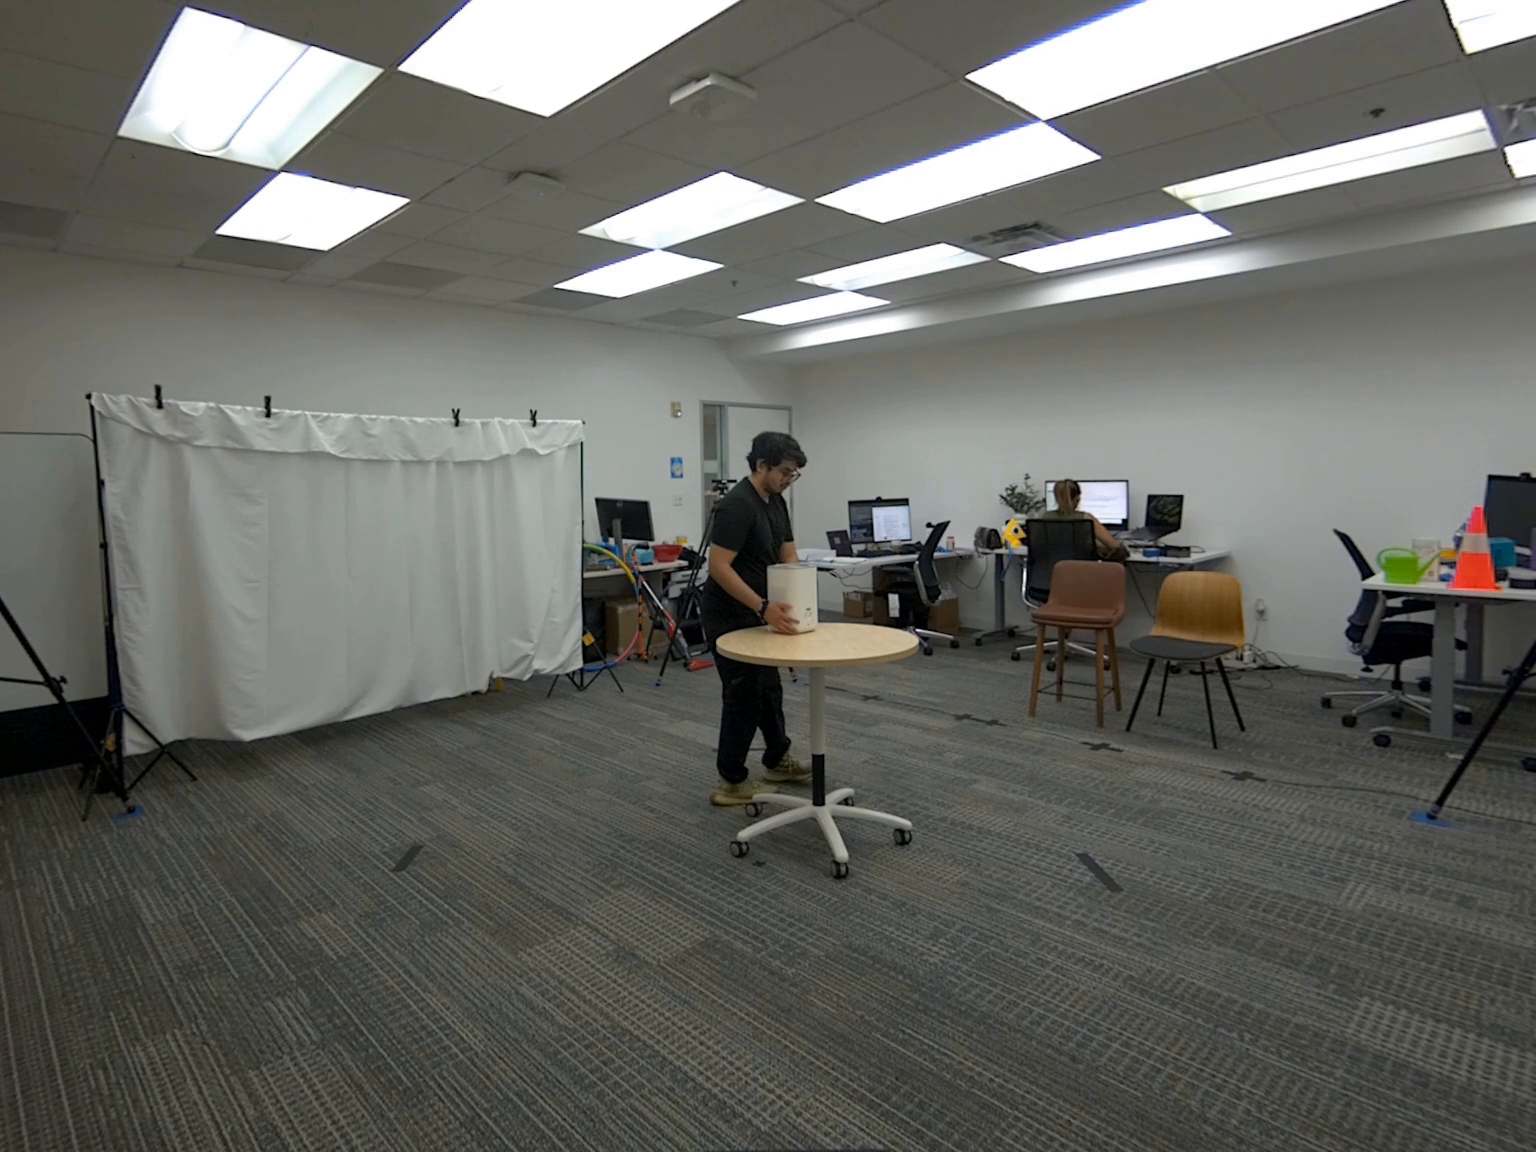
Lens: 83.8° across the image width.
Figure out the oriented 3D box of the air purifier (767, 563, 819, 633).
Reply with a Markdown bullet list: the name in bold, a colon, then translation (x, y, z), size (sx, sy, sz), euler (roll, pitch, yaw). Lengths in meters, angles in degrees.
- **air purifier**: translation (0.103, 0.092, 3.468), size (0.176, 0.264, 0.167), euler (2, 5, 37)
